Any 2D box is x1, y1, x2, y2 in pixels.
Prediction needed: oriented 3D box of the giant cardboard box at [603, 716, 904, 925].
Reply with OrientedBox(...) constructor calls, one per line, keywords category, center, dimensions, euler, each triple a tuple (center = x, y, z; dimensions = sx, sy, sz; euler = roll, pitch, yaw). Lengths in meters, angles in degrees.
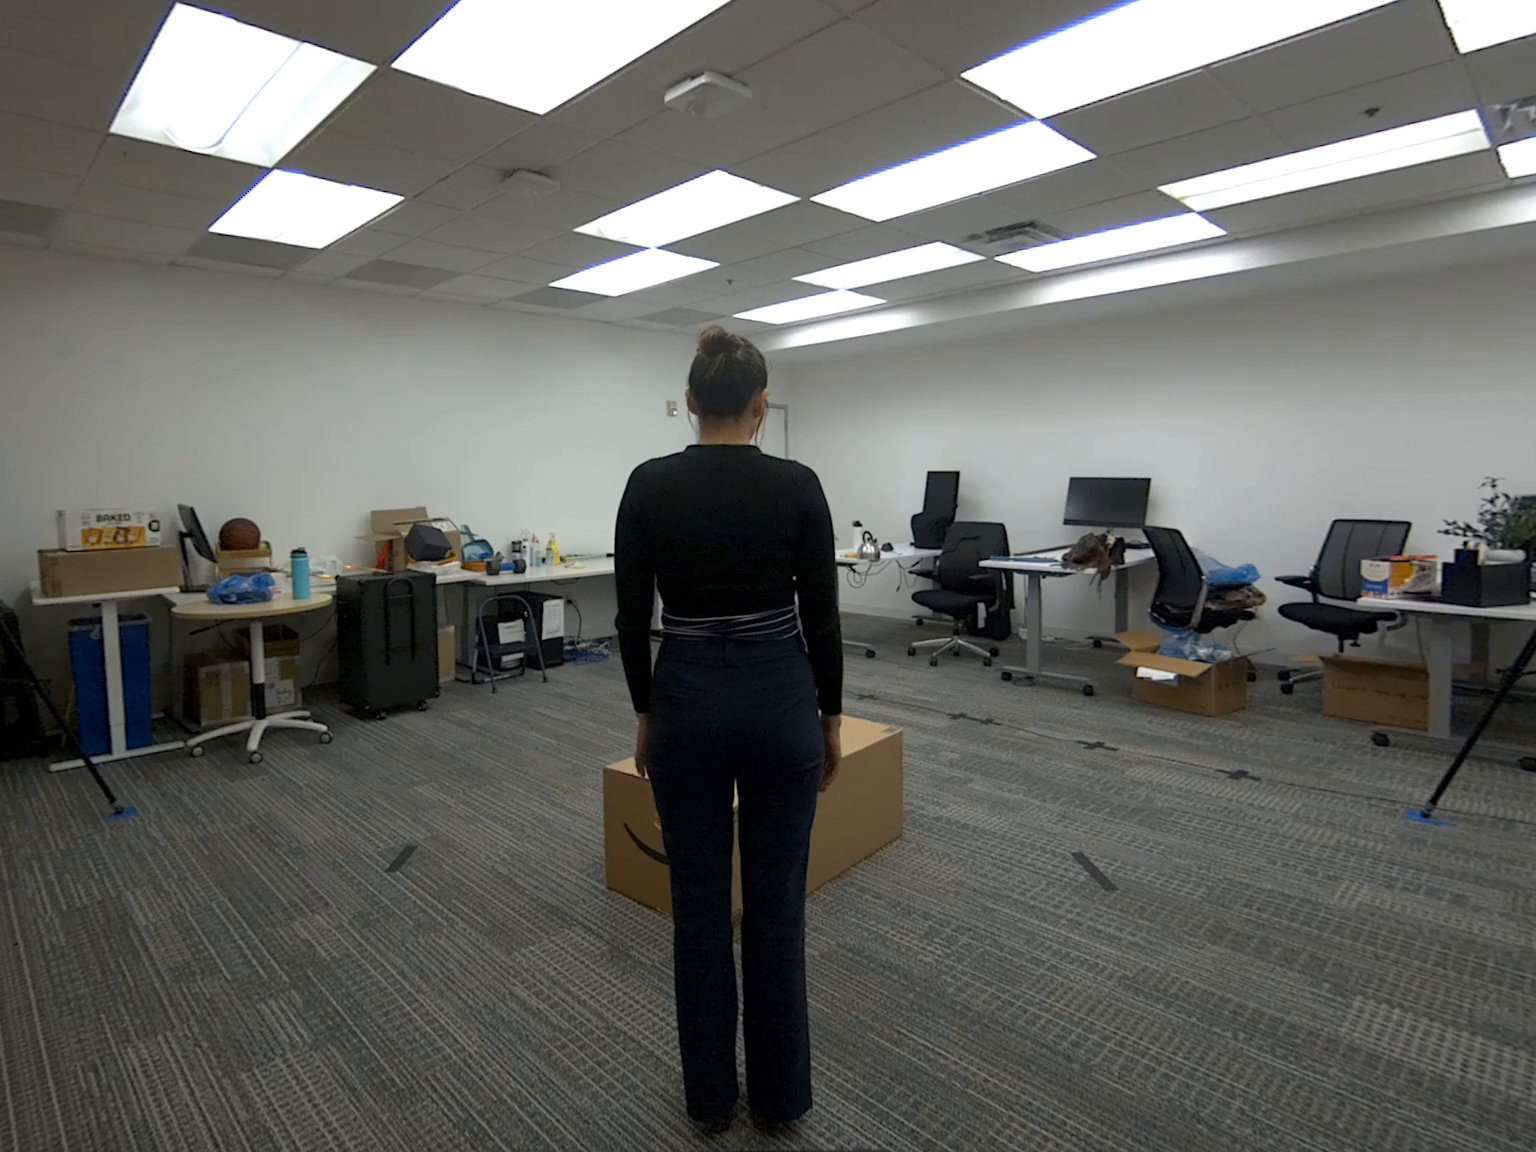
OrientedBox(category="giant cardboard box", center=(-0.019, 0.828, 3.119), dimensions=(0.595, 0.424, 1.000), euler=(4, 8, 40))
